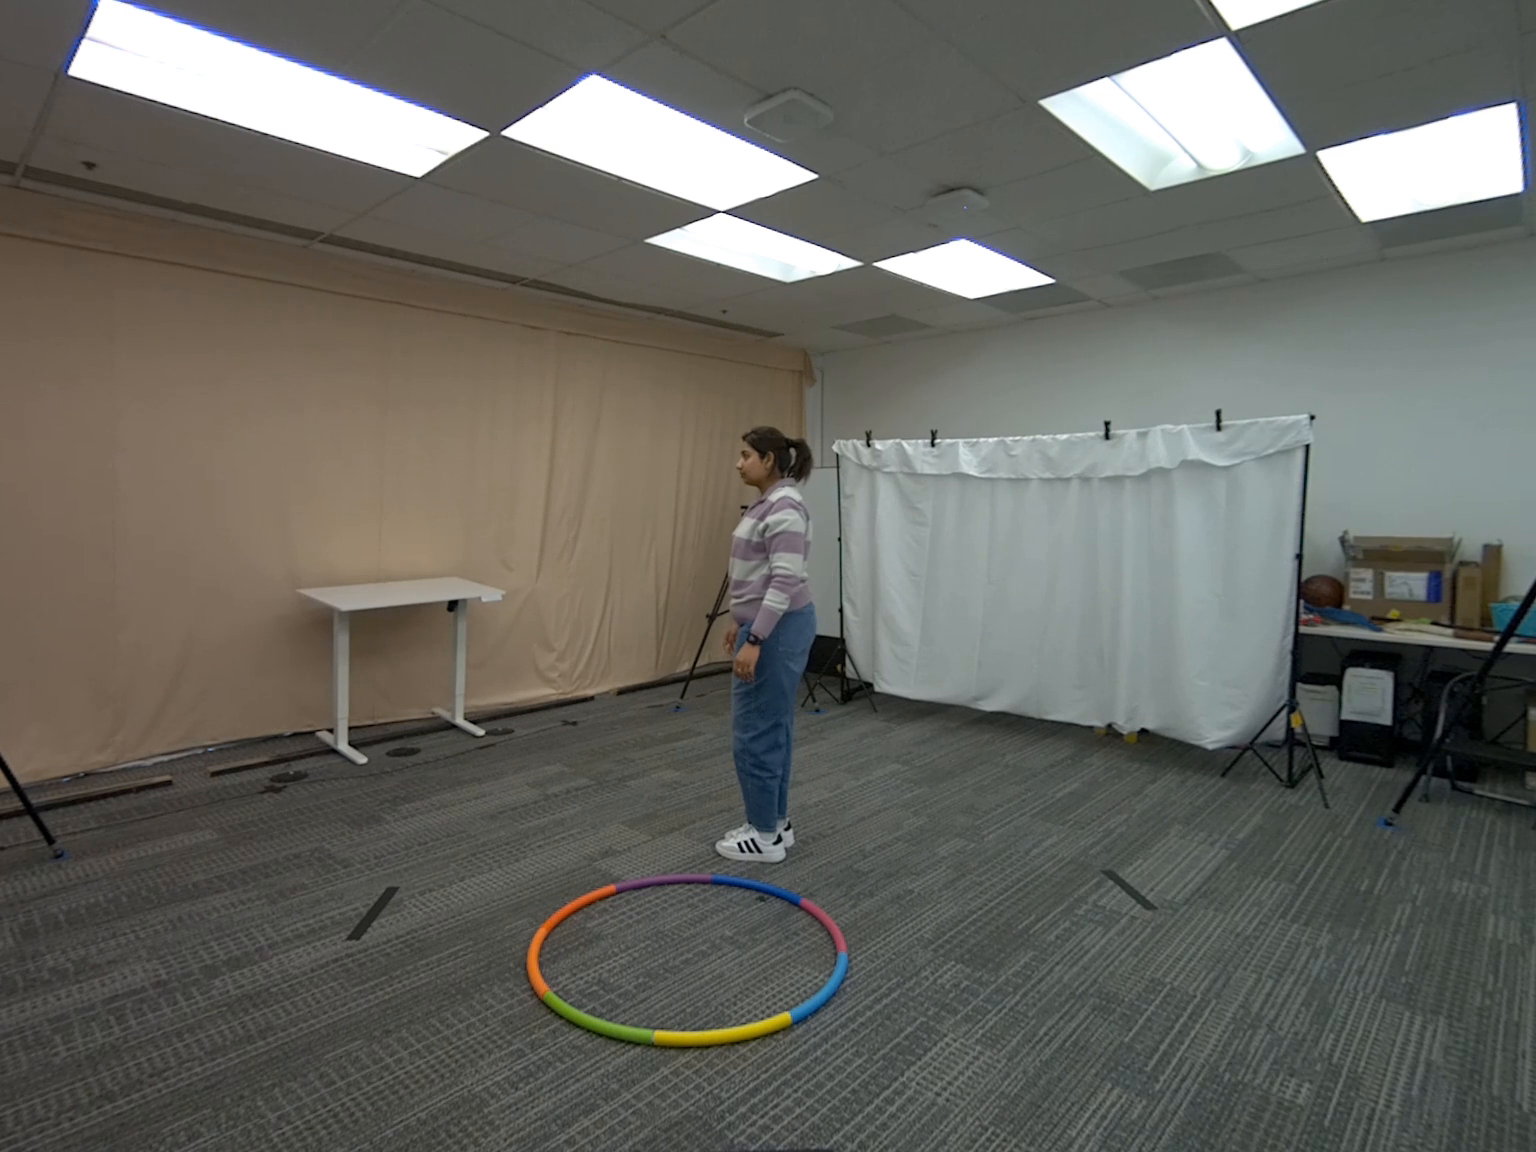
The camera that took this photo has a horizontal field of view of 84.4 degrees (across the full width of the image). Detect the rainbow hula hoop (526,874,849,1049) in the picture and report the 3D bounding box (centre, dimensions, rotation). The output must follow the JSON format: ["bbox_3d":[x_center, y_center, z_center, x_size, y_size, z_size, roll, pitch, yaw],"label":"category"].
[{"bbox_3d":[-0.250,1.145,2.640,0.978,0.035,0.982,-1,5,-2],"label":"rainbow hula hoop"}]
